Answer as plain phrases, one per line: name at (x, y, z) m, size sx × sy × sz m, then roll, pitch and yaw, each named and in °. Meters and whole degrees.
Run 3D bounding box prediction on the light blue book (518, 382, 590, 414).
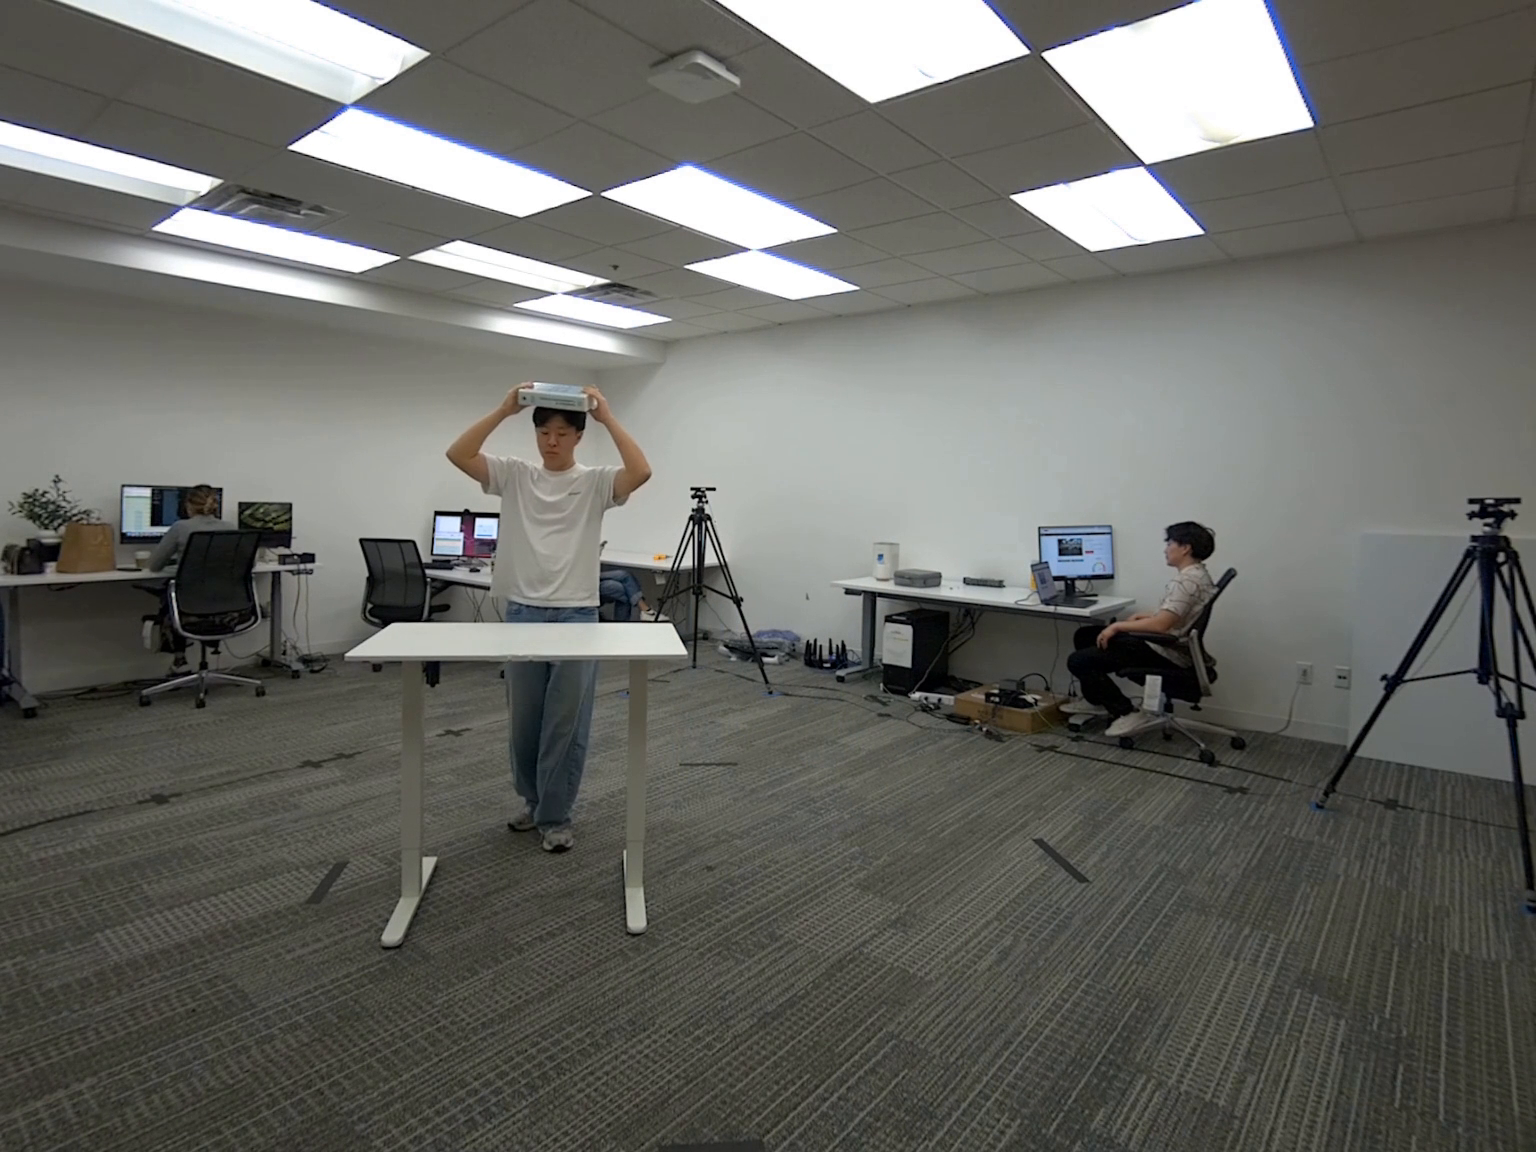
light blue book at (-0.825, -0.696, 3.286) m, size 0.262 × 0.058 × 0.193 m, roll 7°, pitch 20°, yaw 4°
